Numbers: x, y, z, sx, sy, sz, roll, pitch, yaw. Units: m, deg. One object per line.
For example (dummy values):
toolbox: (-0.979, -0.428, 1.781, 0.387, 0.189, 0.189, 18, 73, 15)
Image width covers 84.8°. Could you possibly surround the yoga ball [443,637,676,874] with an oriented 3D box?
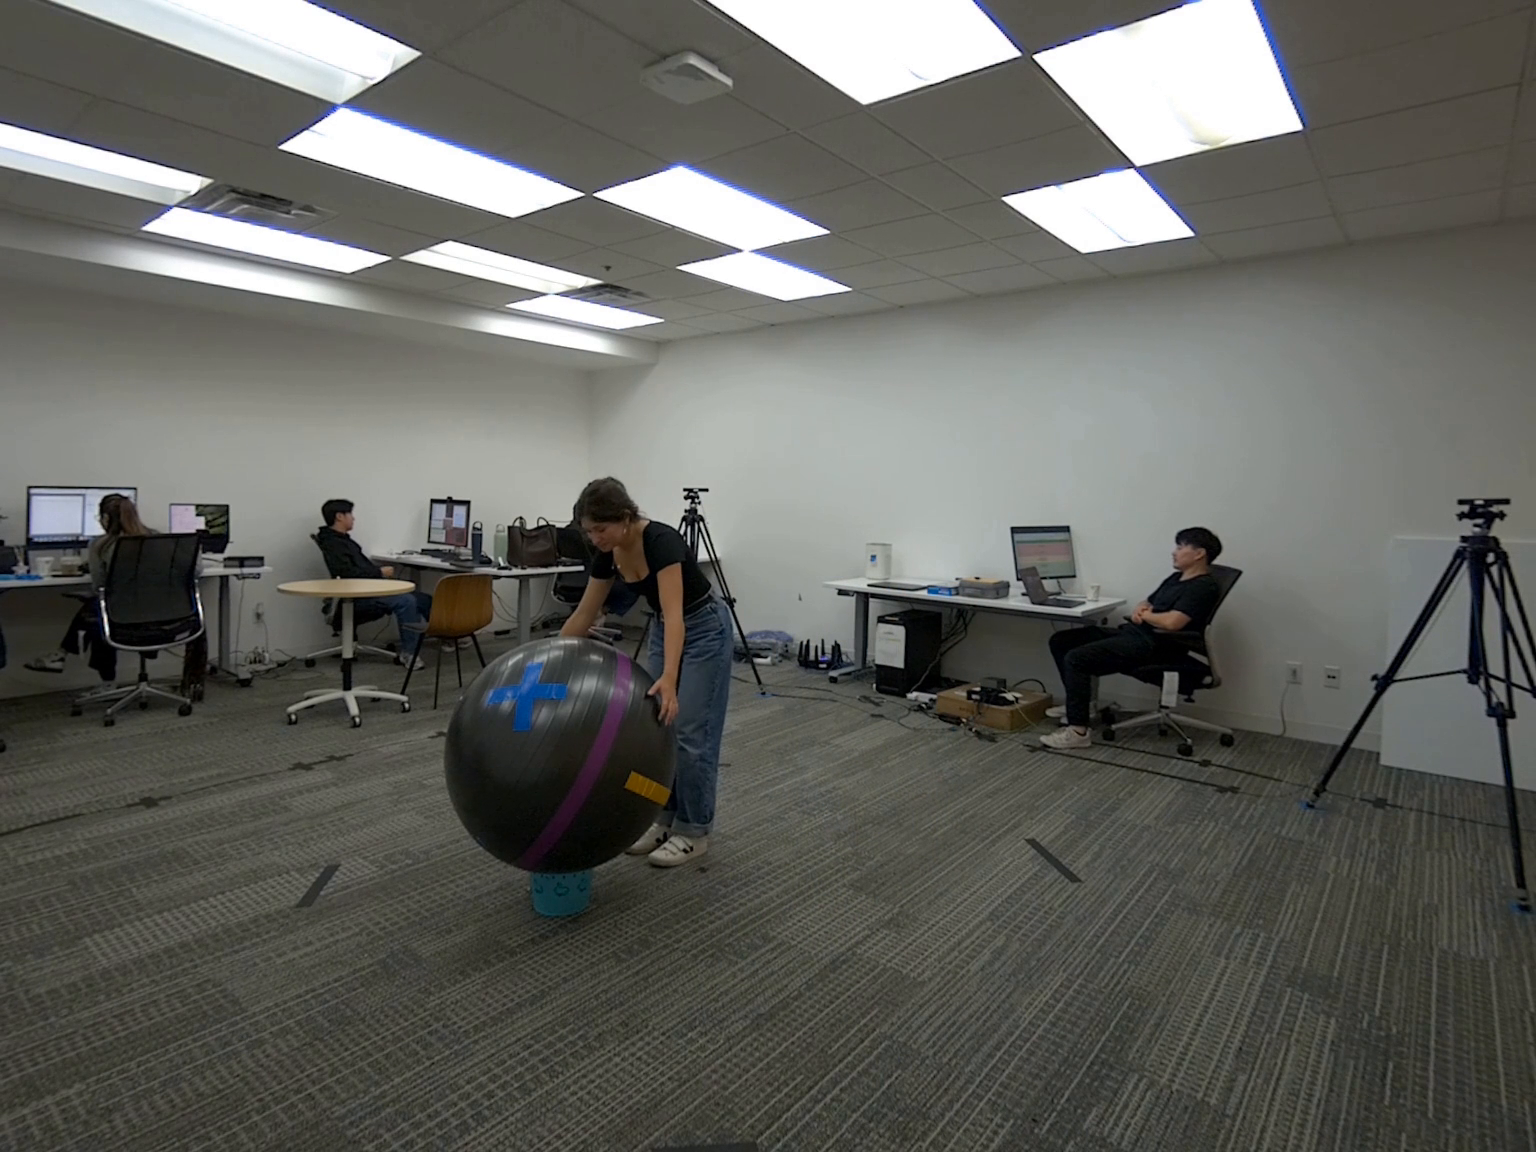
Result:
yoga ball: (-0.690, 0.585, 2.812, 0.757, 0.755, 0.762, 1, 4, -2)
